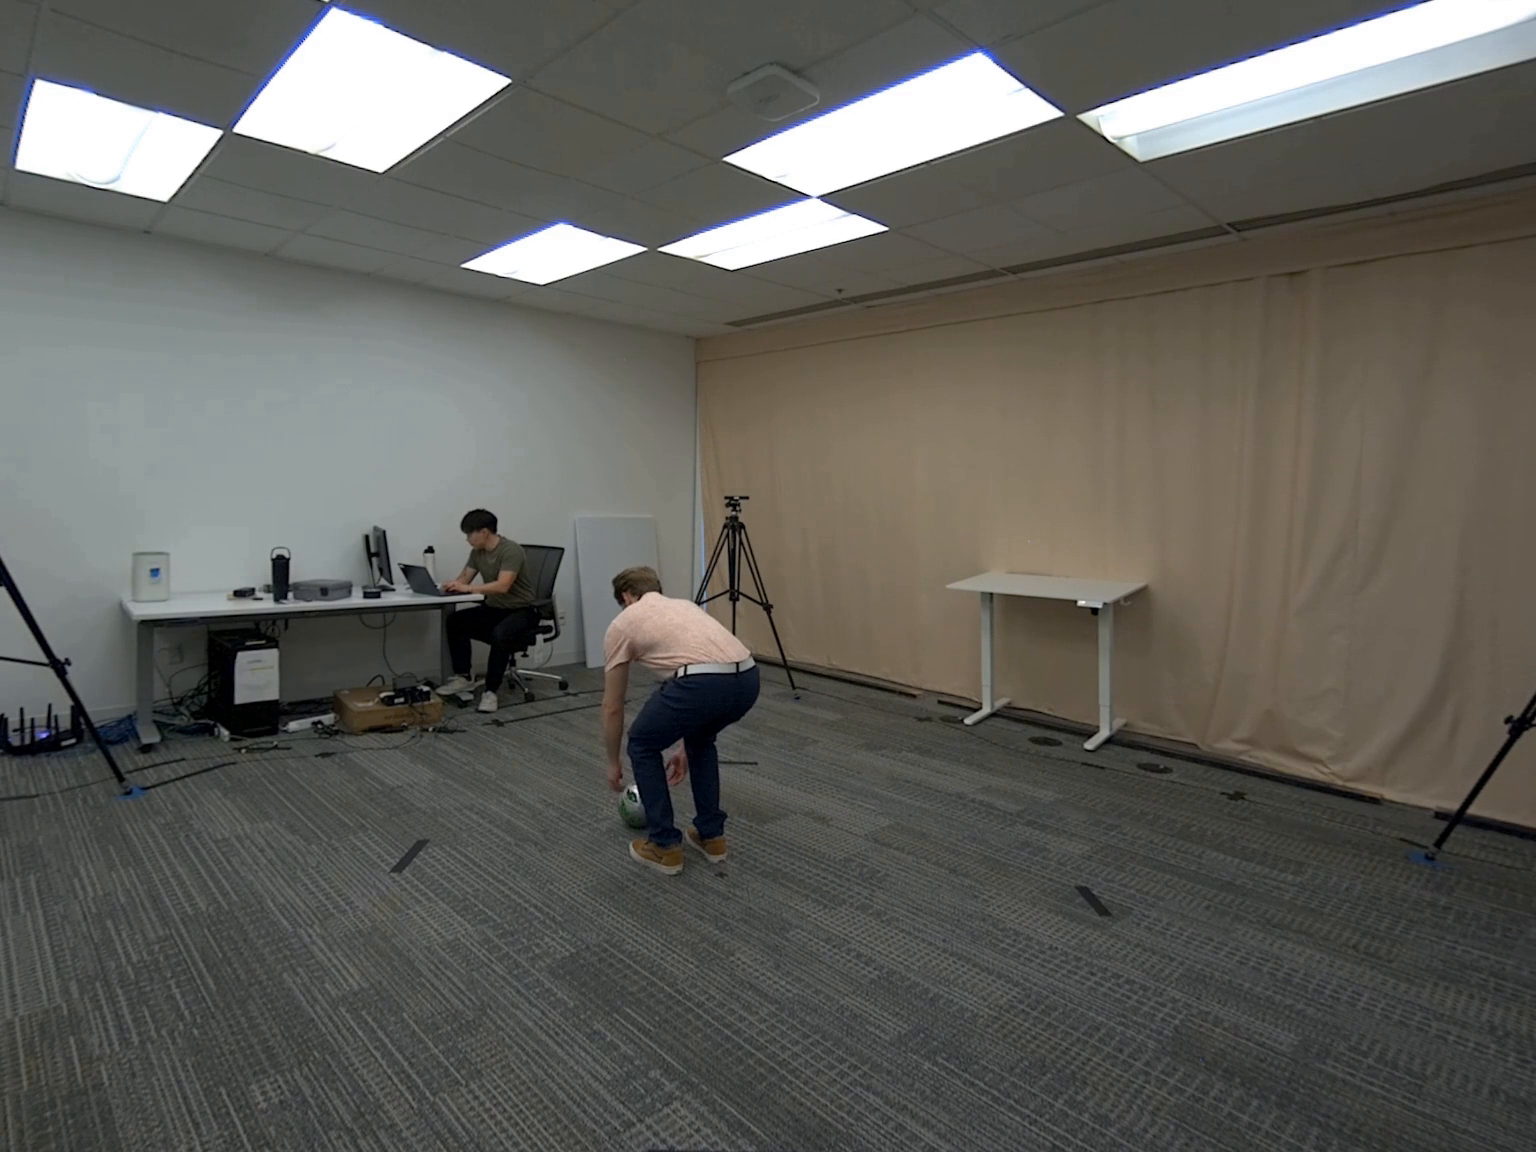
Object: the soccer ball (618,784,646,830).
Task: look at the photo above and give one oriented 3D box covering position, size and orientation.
[{"bbox_3d":[-0.548,0.960,3.546,0.187,0.187,0.188,1,4,-1],"label":"soccer ball"}]
